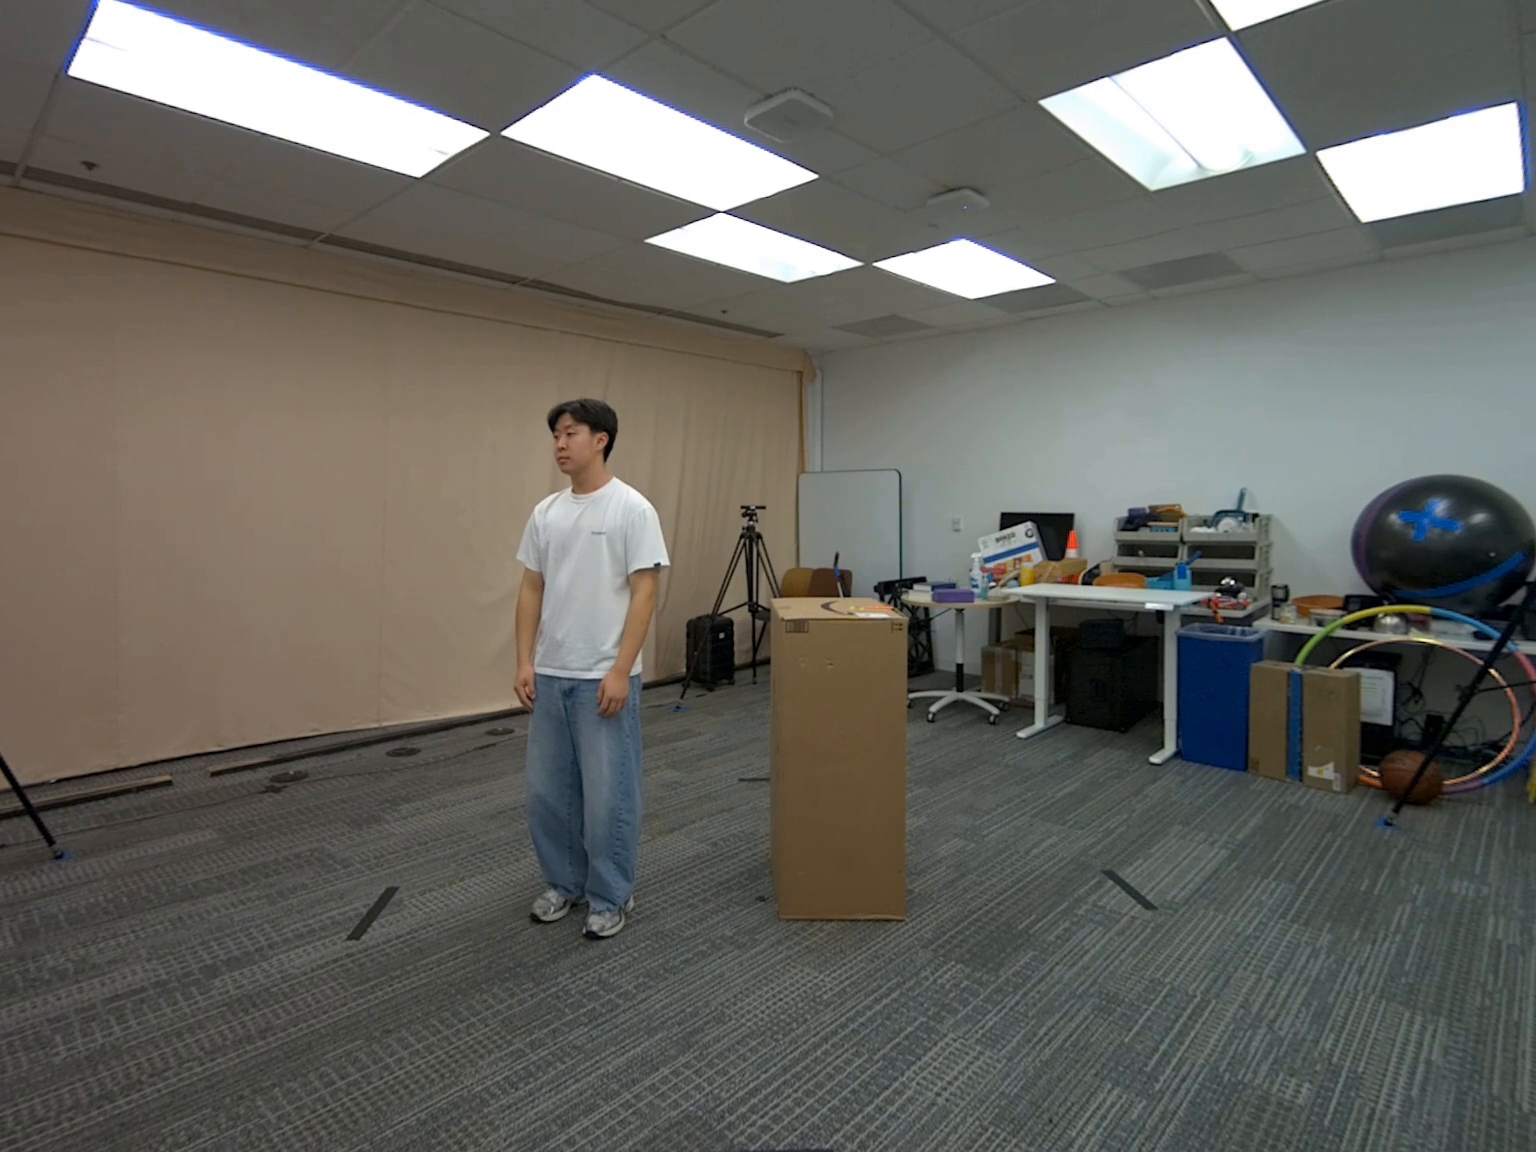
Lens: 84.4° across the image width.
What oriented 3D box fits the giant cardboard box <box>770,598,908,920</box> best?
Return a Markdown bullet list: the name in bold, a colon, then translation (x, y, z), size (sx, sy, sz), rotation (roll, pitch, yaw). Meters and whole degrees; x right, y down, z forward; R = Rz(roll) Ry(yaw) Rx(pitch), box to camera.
- **giant cardboard box**: translation (0.248, 0.630, 3.083), size (0.425, 1.024, 0.580), rotation (1, 3, -4)
